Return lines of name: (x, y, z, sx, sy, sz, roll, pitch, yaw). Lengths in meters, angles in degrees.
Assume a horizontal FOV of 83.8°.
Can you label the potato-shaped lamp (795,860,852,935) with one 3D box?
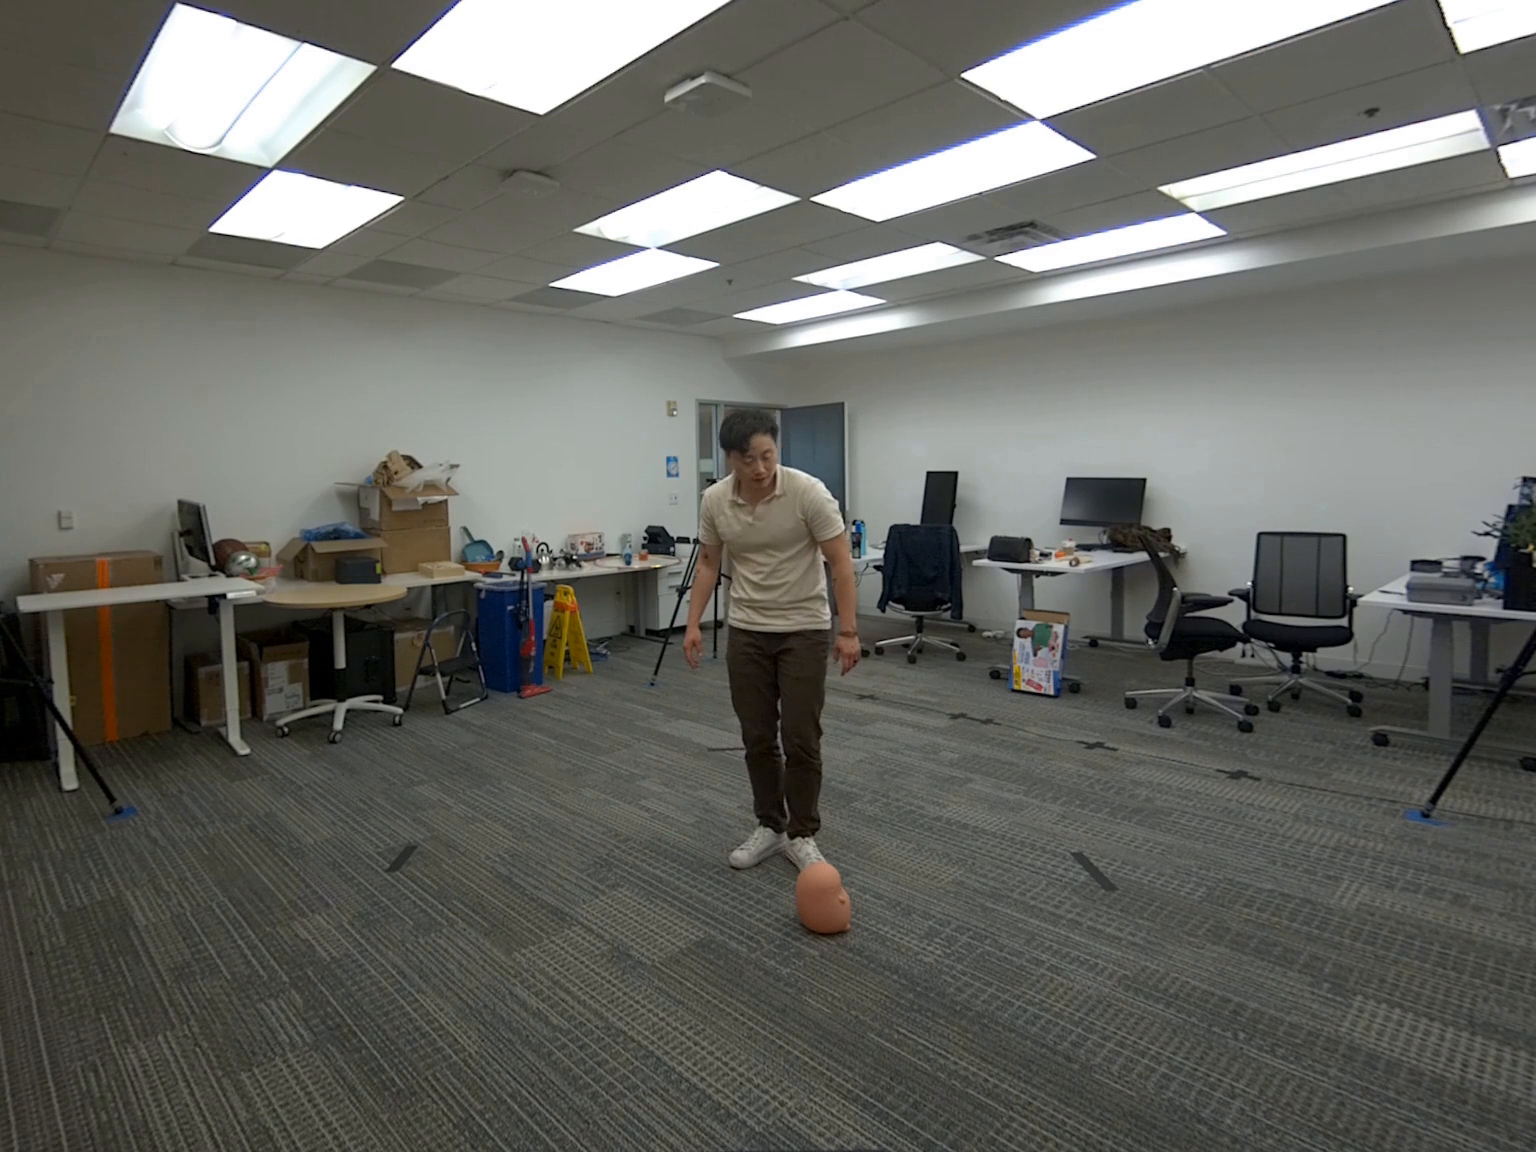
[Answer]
potato-shaped lamp: (0.176, 0.992, 2.657, 0.171, 0.197, 0.166, -3, 5, -5)
